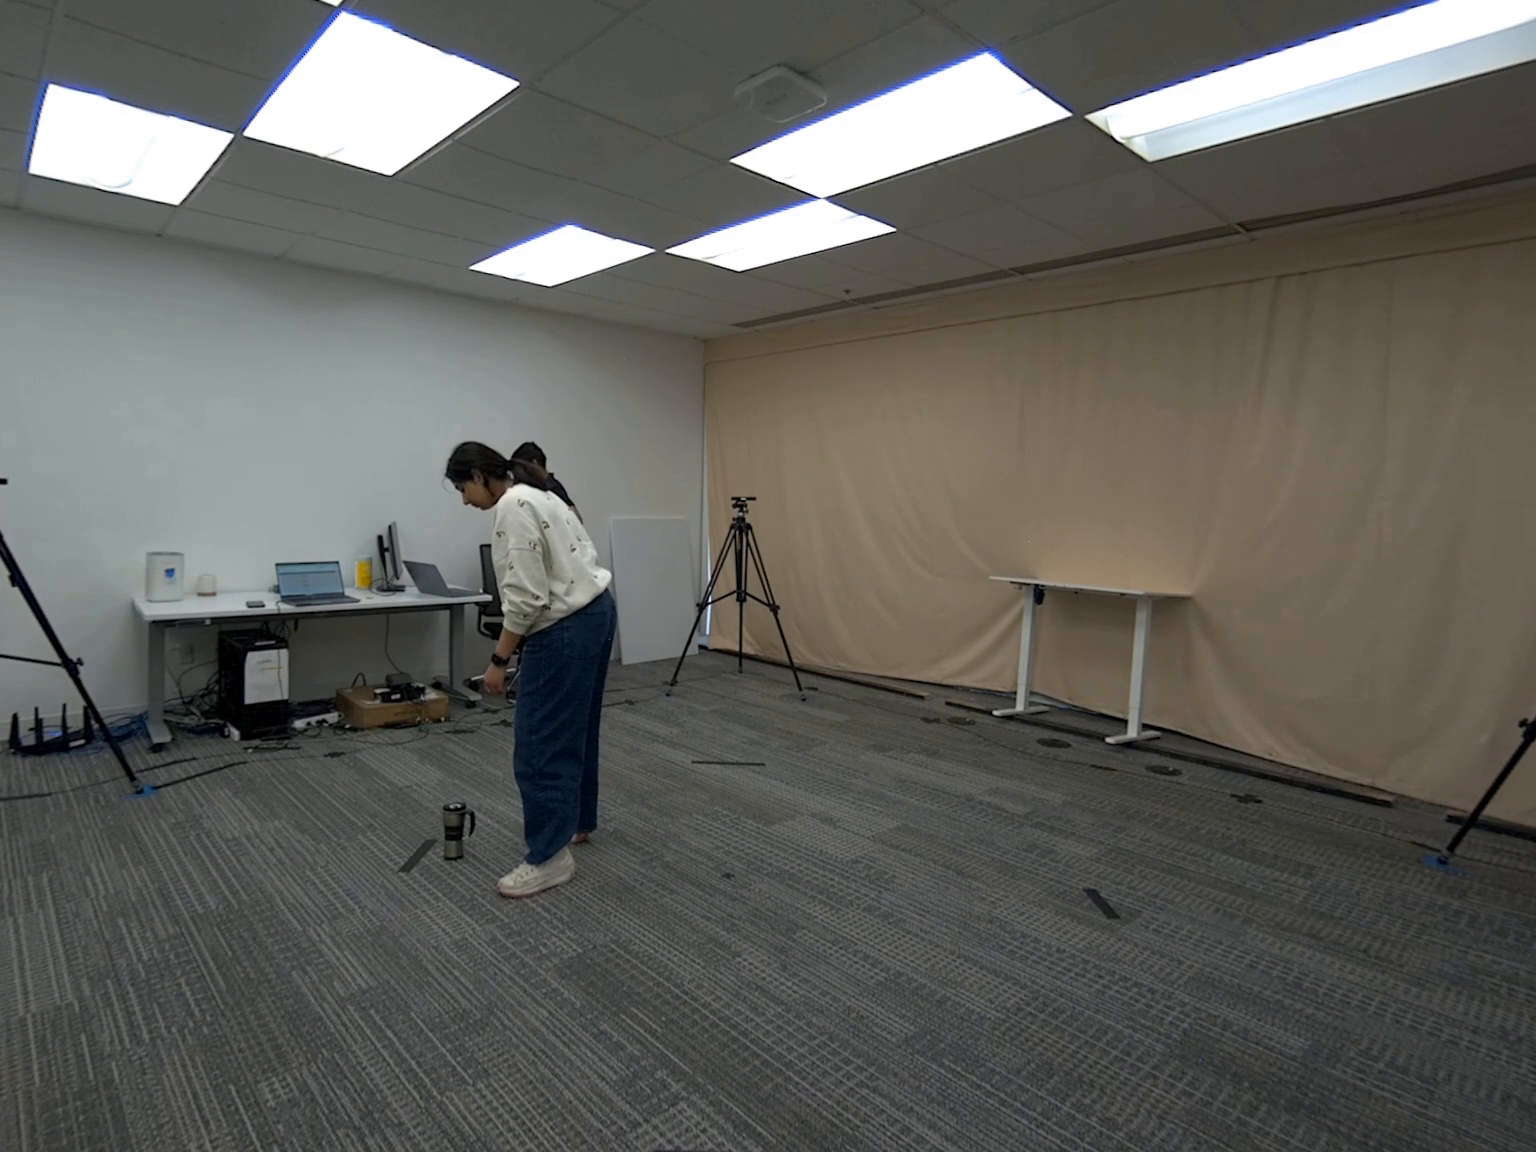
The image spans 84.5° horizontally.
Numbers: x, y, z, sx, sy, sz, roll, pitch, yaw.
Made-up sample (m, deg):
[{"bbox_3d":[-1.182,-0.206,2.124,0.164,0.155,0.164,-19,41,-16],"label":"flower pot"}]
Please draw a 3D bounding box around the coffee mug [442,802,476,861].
[{"bbox_3d":[-1.198,0.980,3.198,0.125,0.203,0.086,1,-1,42],"label":"coffee mug"}]
